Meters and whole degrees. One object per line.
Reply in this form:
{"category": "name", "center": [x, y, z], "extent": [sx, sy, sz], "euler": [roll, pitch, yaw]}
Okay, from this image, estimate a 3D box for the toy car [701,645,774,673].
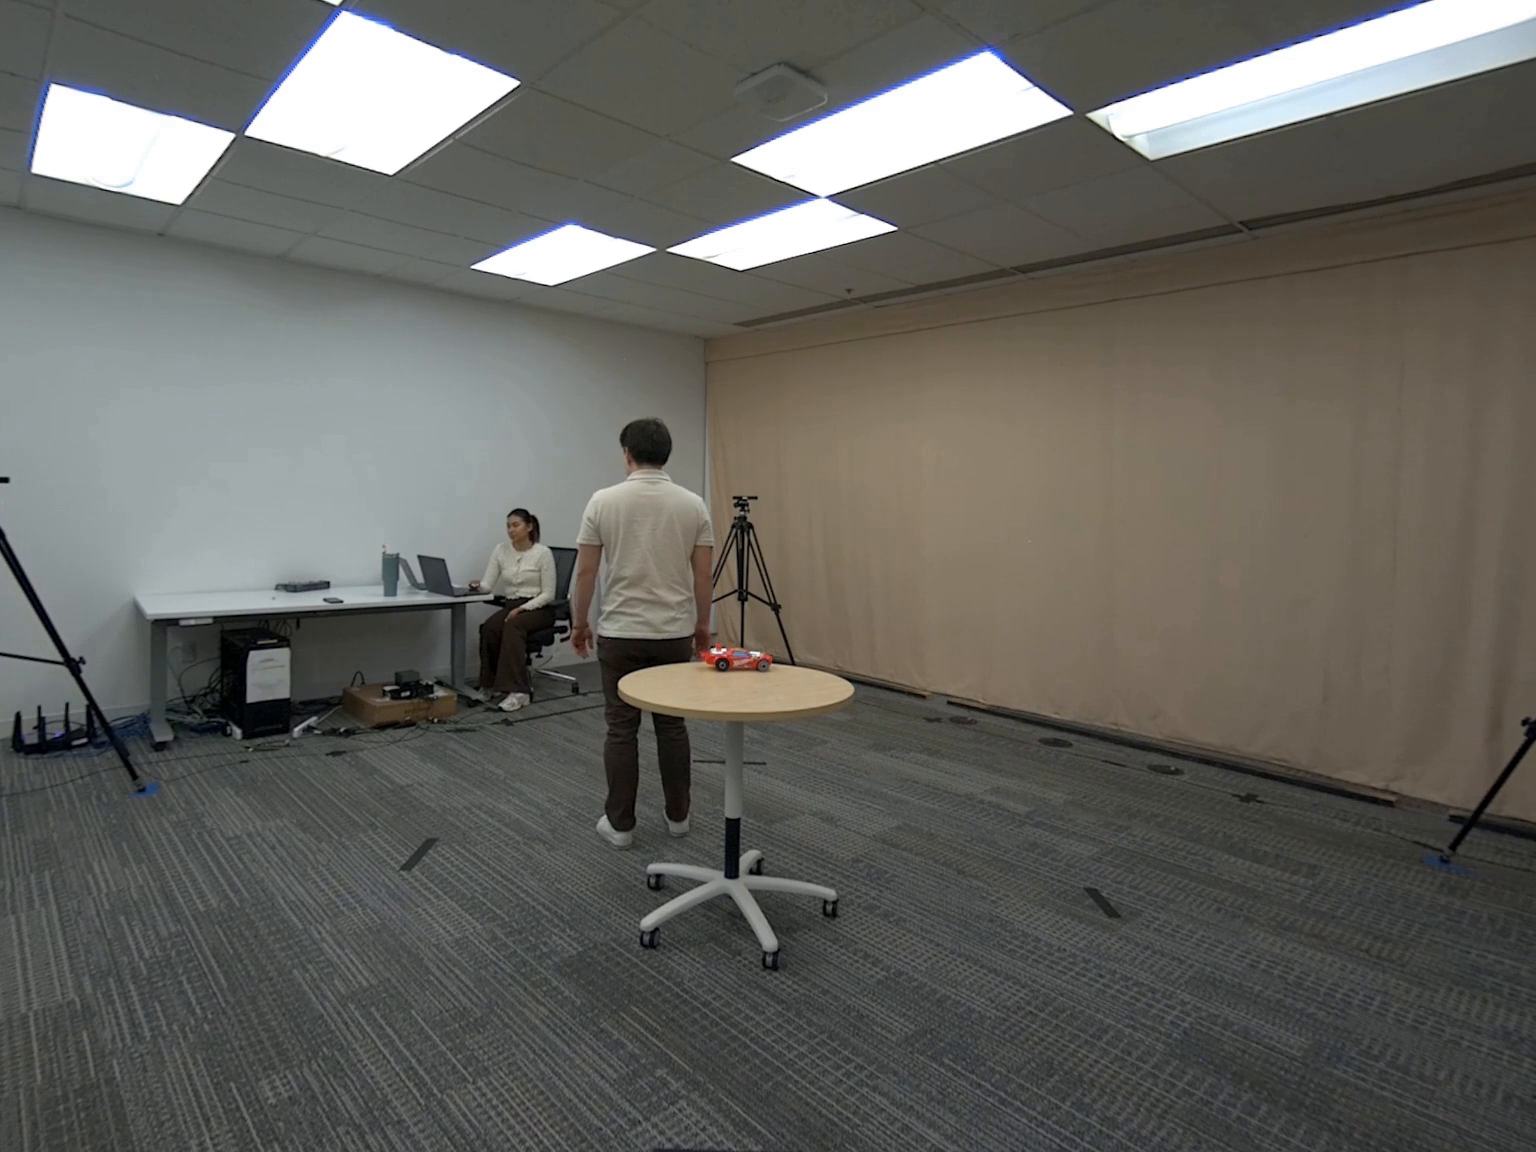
{"category": "toy car", "center": [-0.126, 0.300, 2.989], "extent": [0.253, 0.083, 0.131], "euler": [13, 2, -5]}
